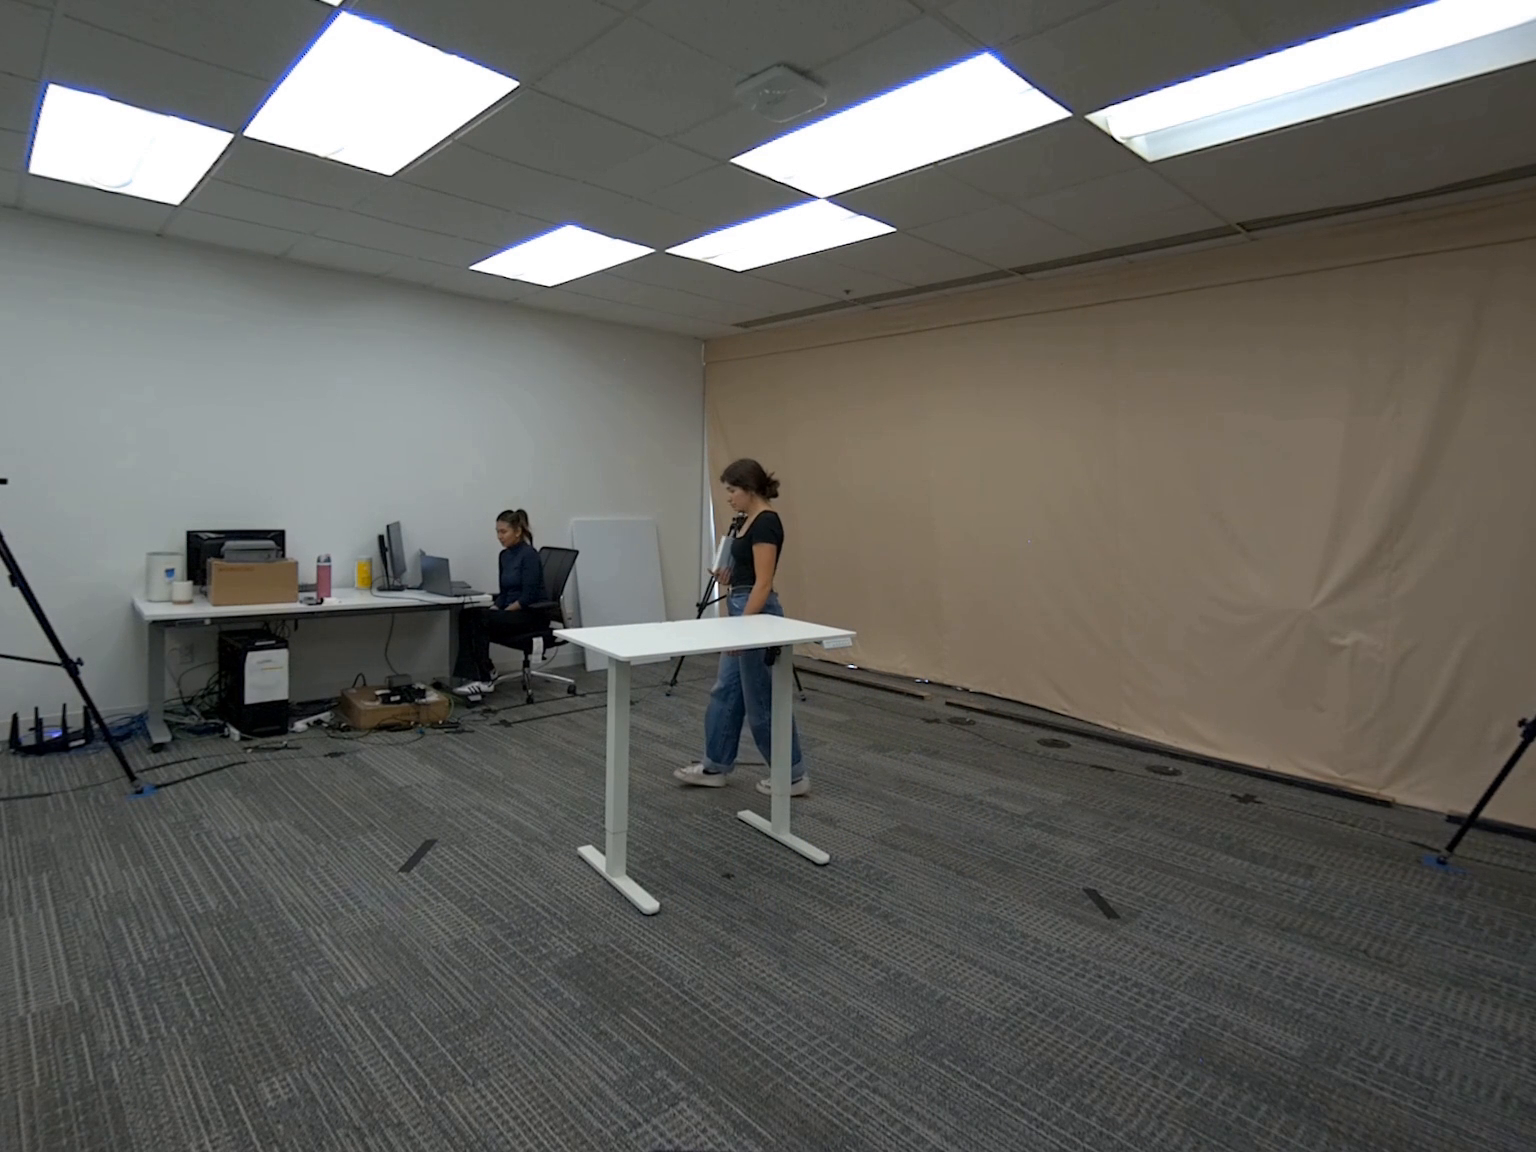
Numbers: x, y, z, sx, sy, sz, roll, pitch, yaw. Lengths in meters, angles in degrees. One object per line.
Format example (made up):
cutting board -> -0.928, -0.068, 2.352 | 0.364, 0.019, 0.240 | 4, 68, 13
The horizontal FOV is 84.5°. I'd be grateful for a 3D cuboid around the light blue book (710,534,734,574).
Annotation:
light blue book -> -0.132, -0.076, 4.125 | 0.256, 0.191, 0.060 | 17, 0, -18
